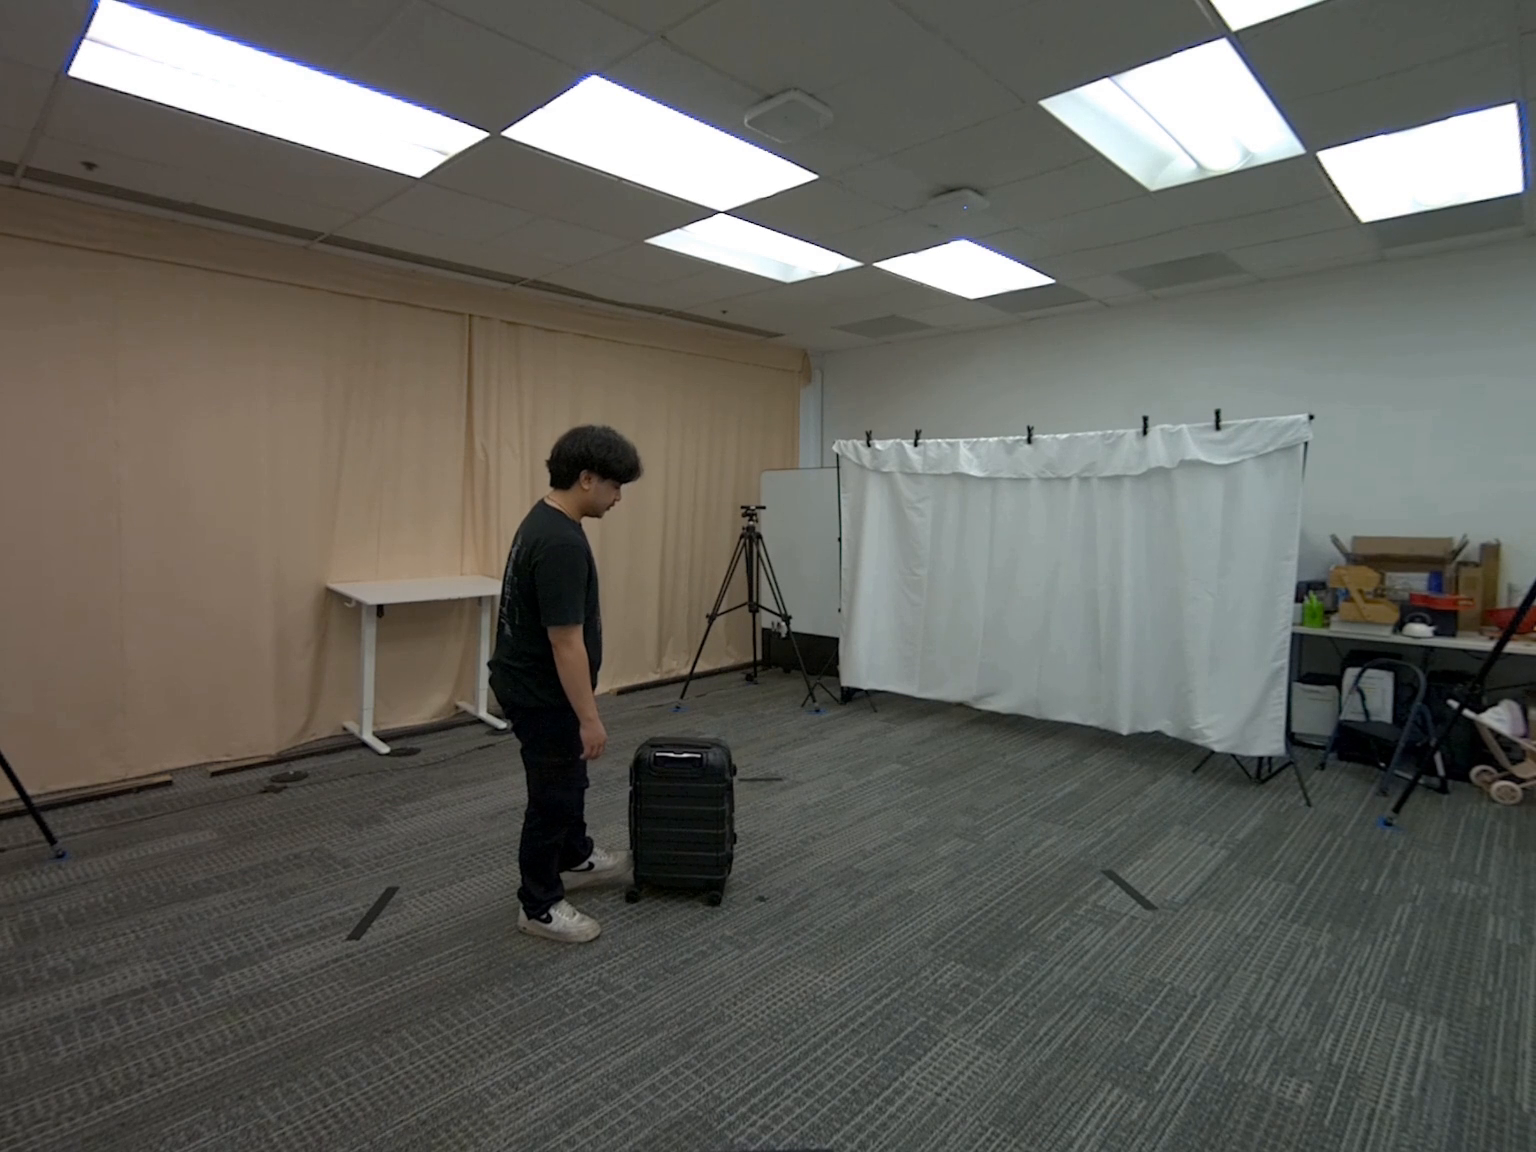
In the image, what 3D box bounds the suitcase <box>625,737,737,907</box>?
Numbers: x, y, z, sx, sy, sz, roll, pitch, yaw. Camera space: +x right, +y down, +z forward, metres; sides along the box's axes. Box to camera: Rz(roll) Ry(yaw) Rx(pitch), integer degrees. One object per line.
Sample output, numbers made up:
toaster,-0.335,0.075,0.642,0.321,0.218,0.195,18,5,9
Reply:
suitcase,-0.310,0.862,3.044,0.377,0.549,0.247,0,1,4
